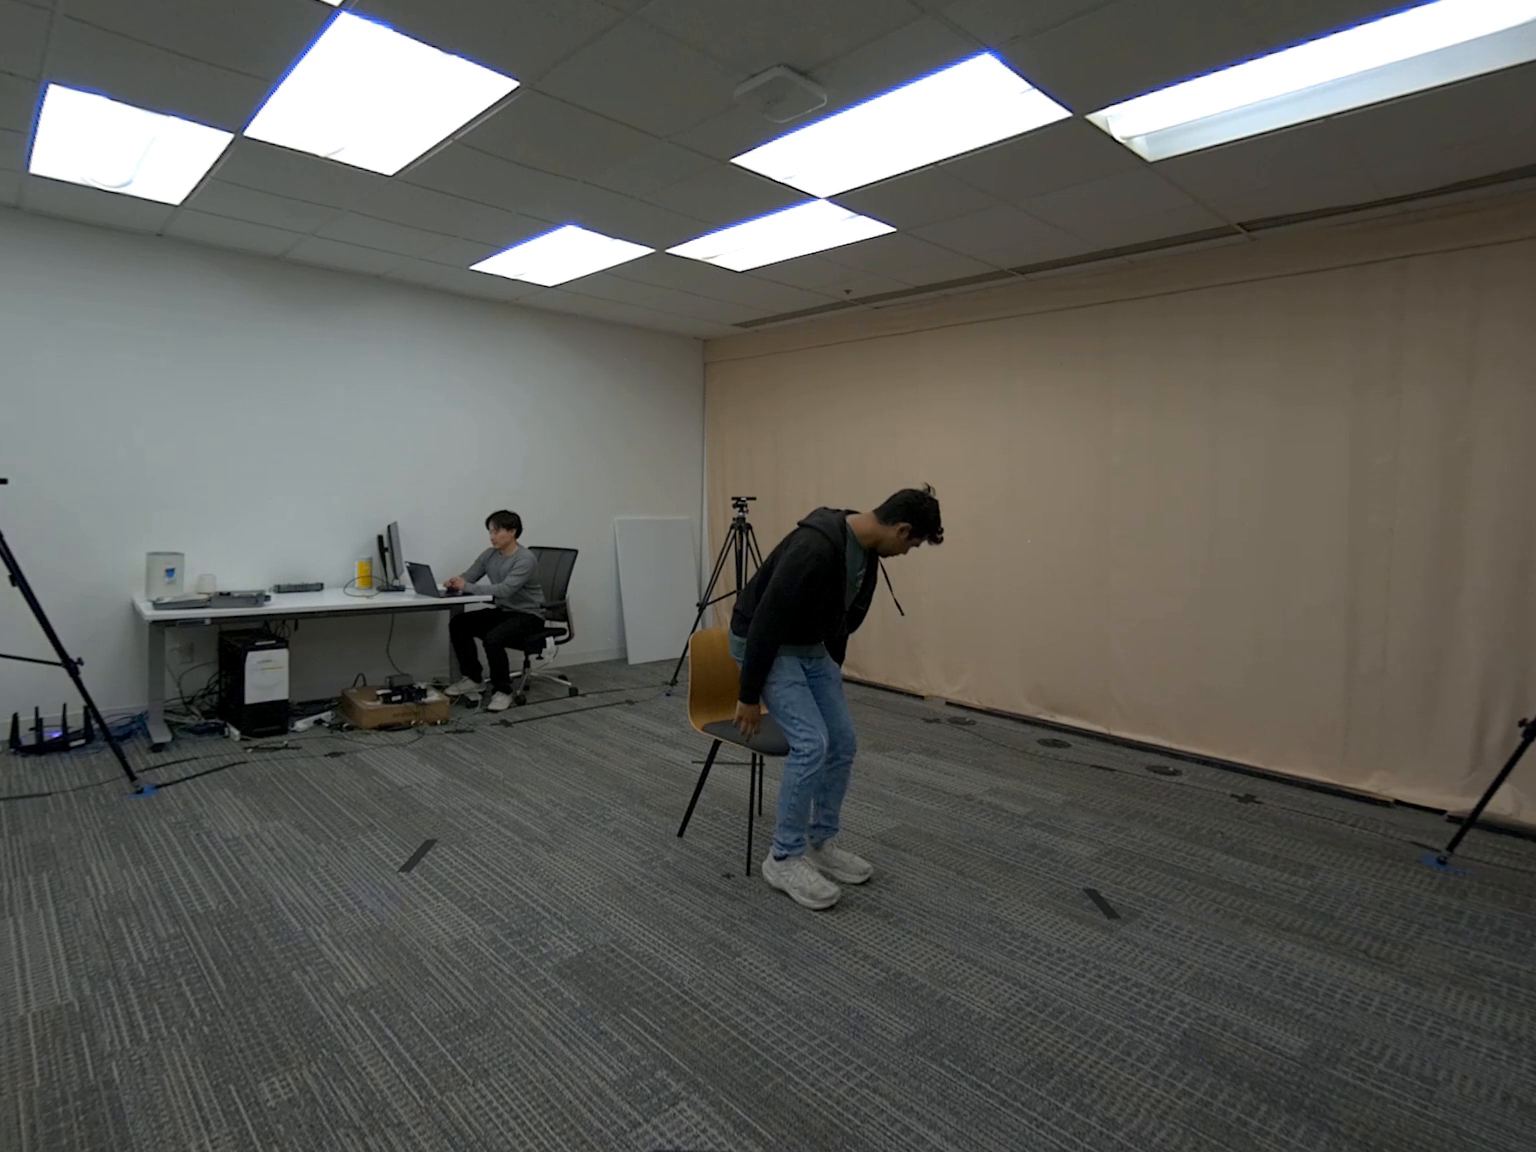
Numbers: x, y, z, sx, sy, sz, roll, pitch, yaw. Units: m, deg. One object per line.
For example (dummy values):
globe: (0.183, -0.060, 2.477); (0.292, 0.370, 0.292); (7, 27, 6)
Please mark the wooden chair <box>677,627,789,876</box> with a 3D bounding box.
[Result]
wooden chair: (-0.045, 0.655, 3.375); (0.467, 0.878, 0.535); (0, 0, -40)
